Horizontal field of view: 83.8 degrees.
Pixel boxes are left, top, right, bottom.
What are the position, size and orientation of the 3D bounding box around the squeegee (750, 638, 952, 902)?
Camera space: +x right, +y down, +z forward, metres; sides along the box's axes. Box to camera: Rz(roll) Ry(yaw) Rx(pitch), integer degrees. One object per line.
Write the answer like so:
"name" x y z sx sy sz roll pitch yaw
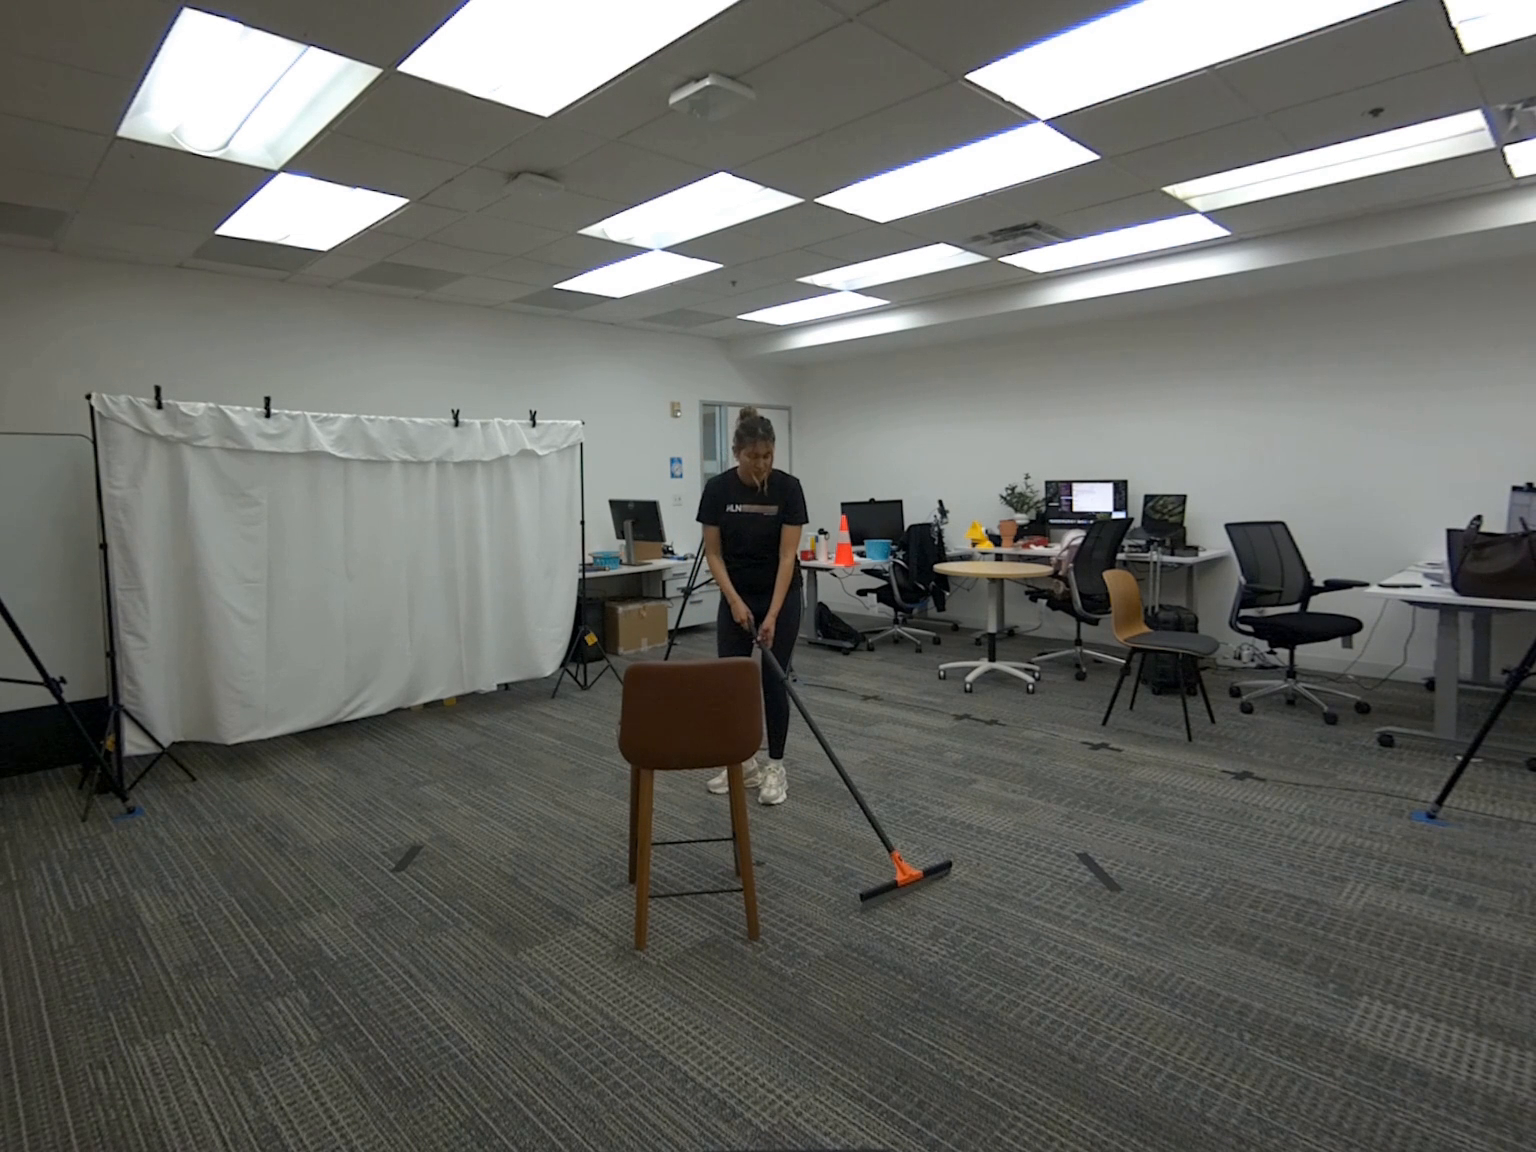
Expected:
"squeegee" 0.120 0.473 3.315 0.426 0.052 1.594 -4 46 -34
